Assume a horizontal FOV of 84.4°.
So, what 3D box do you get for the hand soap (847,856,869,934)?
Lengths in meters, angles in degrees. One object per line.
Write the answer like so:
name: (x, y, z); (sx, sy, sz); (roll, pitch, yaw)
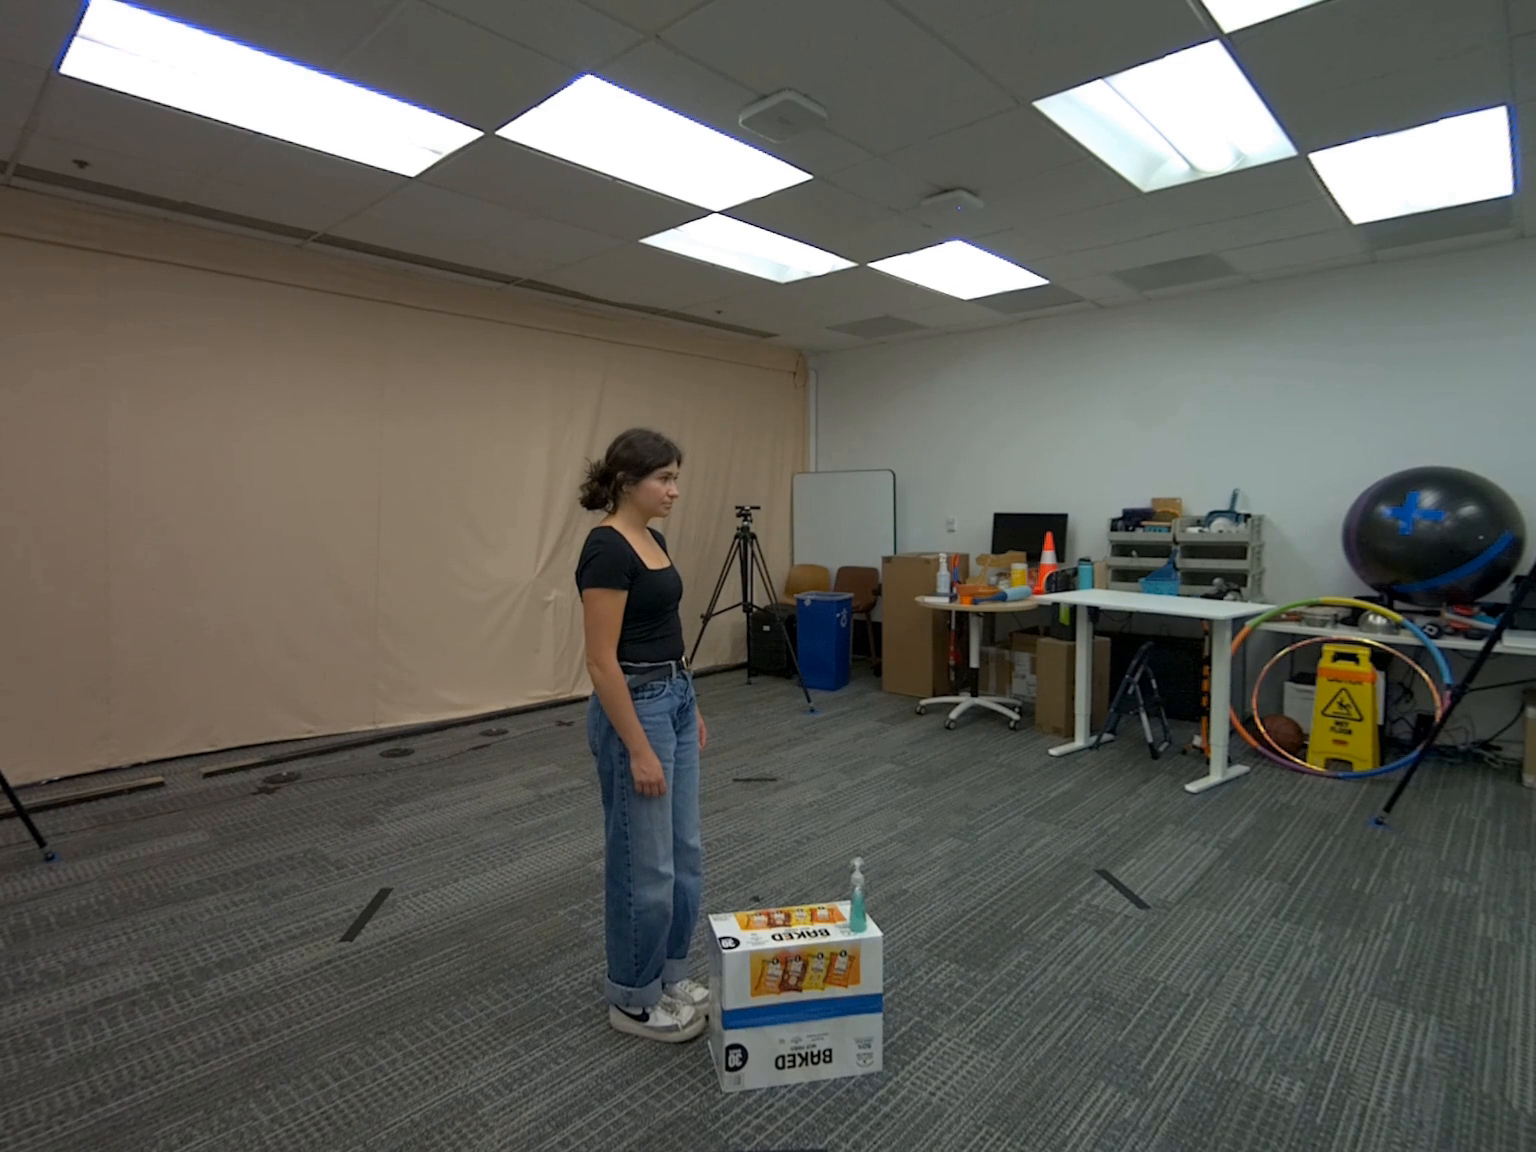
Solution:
hand soap: (0.231, 0.797, 2.093); (0.043, 0.168, 0.085); (2, 2, -4)
